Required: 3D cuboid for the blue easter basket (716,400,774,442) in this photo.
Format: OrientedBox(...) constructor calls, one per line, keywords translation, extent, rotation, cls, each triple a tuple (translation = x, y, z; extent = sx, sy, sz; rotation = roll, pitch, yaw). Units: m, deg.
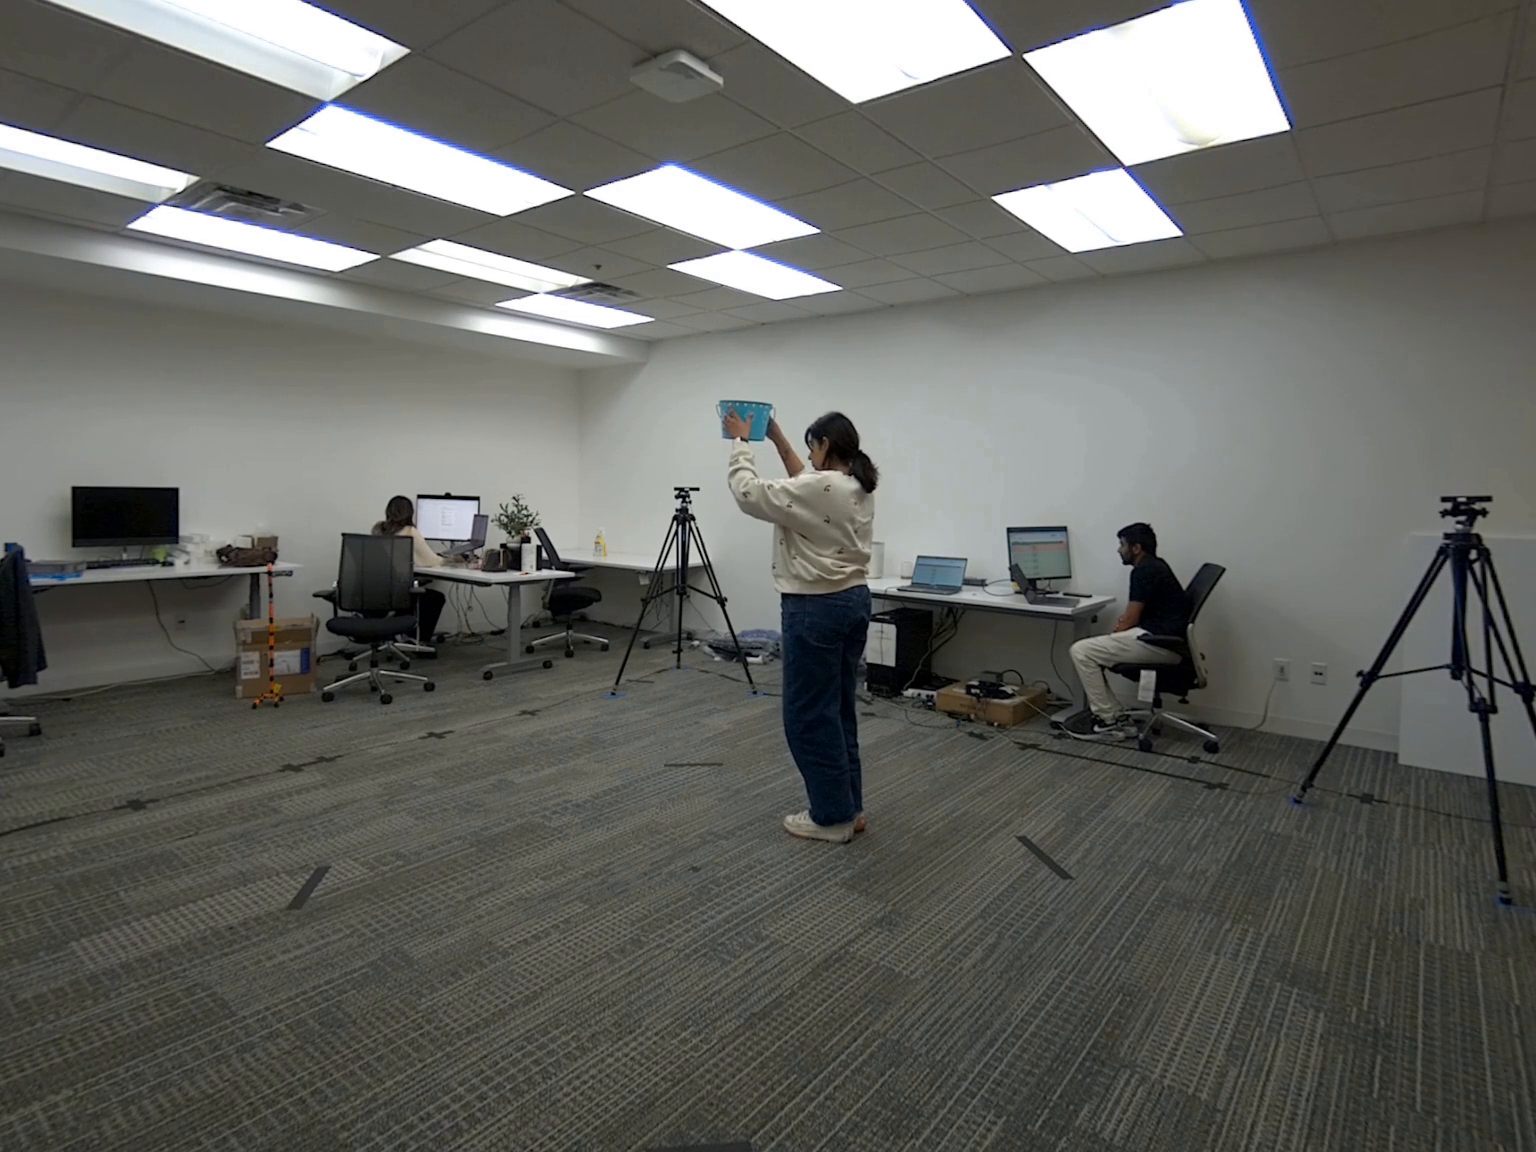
OrientedBox(translation=(-0.097, -0.651, 3.588), extent=(0.243, 0.155, 0.245), rotation=(3, 5, -2), cls="blue easter basket")
